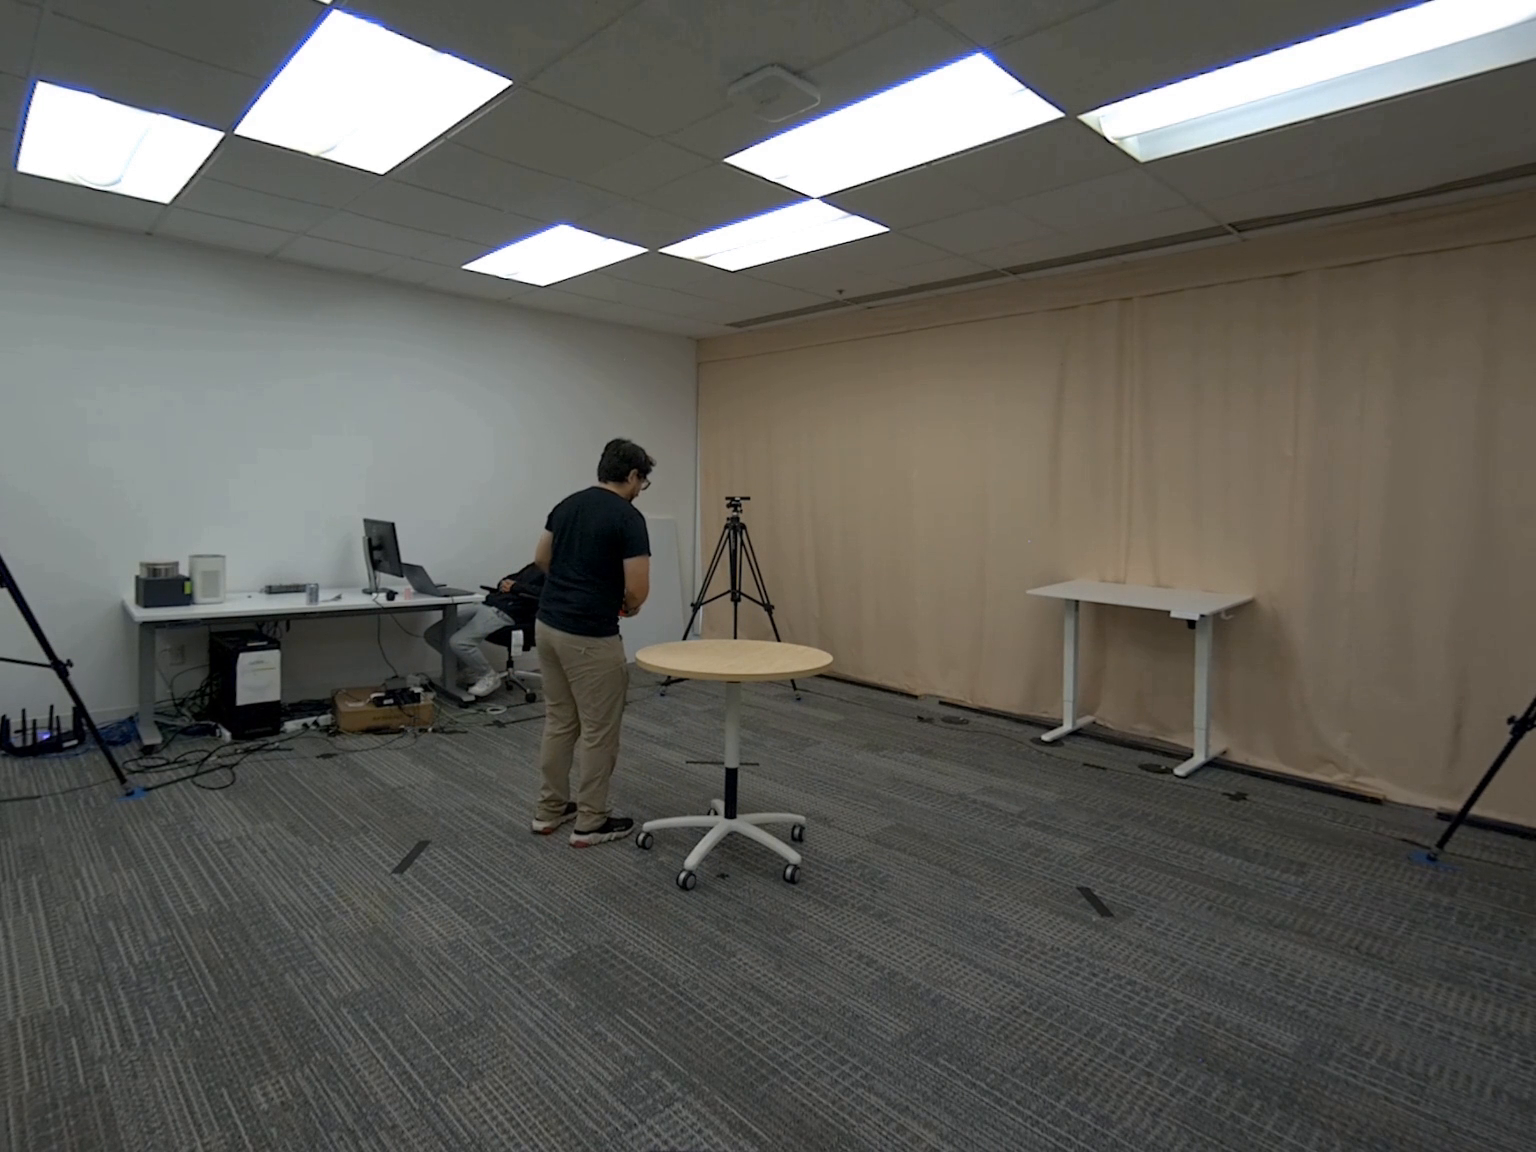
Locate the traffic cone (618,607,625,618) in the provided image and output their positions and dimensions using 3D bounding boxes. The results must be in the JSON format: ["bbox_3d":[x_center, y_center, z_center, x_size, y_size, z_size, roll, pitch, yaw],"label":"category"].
[{"bbox_3d":[-0.739,0.164,3.666,0.387,0.200,0.206,-16,26,16],"label":"traffic cone"}]
